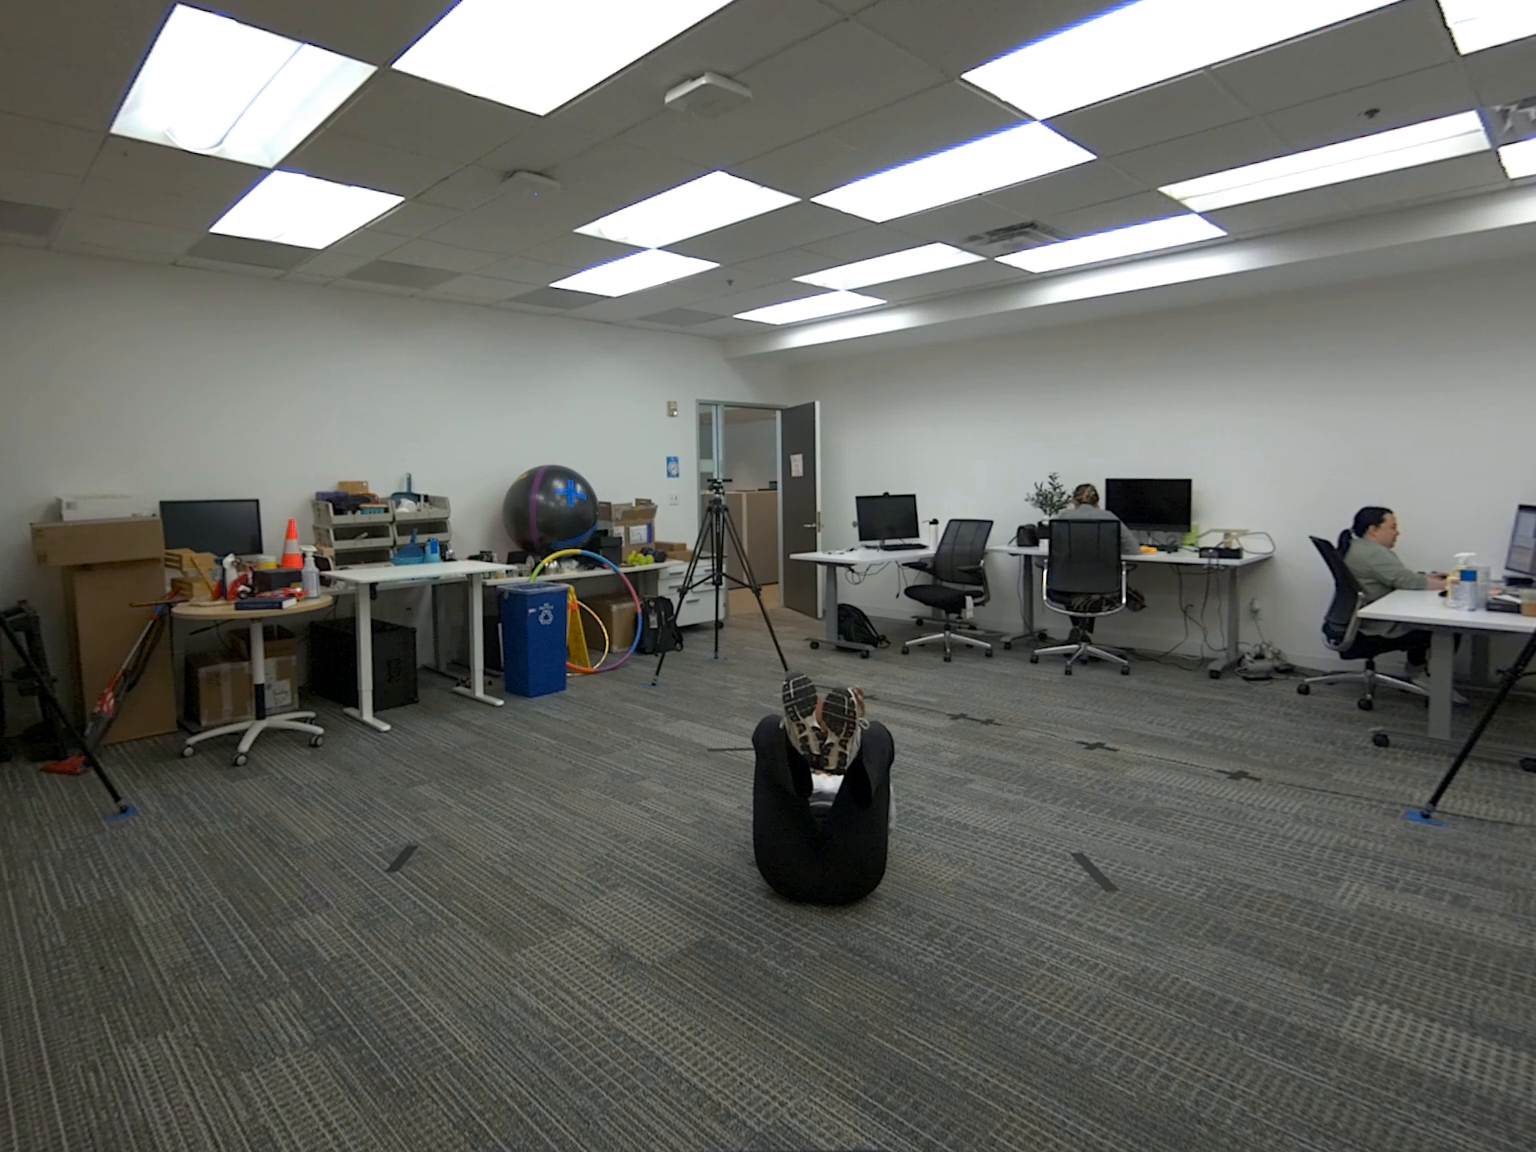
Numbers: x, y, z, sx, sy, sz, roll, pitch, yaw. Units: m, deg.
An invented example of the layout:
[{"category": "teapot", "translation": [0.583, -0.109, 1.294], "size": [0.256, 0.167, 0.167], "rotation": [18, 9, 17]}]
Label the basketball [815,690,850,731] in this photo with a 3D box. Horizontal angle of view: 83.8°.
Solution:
[{"category": "basketball", "translation": [0.185, 0.513, 2.808], "size": [0.236, 0.235, 0.237], "rotation": [-1, 4, -2]}]
